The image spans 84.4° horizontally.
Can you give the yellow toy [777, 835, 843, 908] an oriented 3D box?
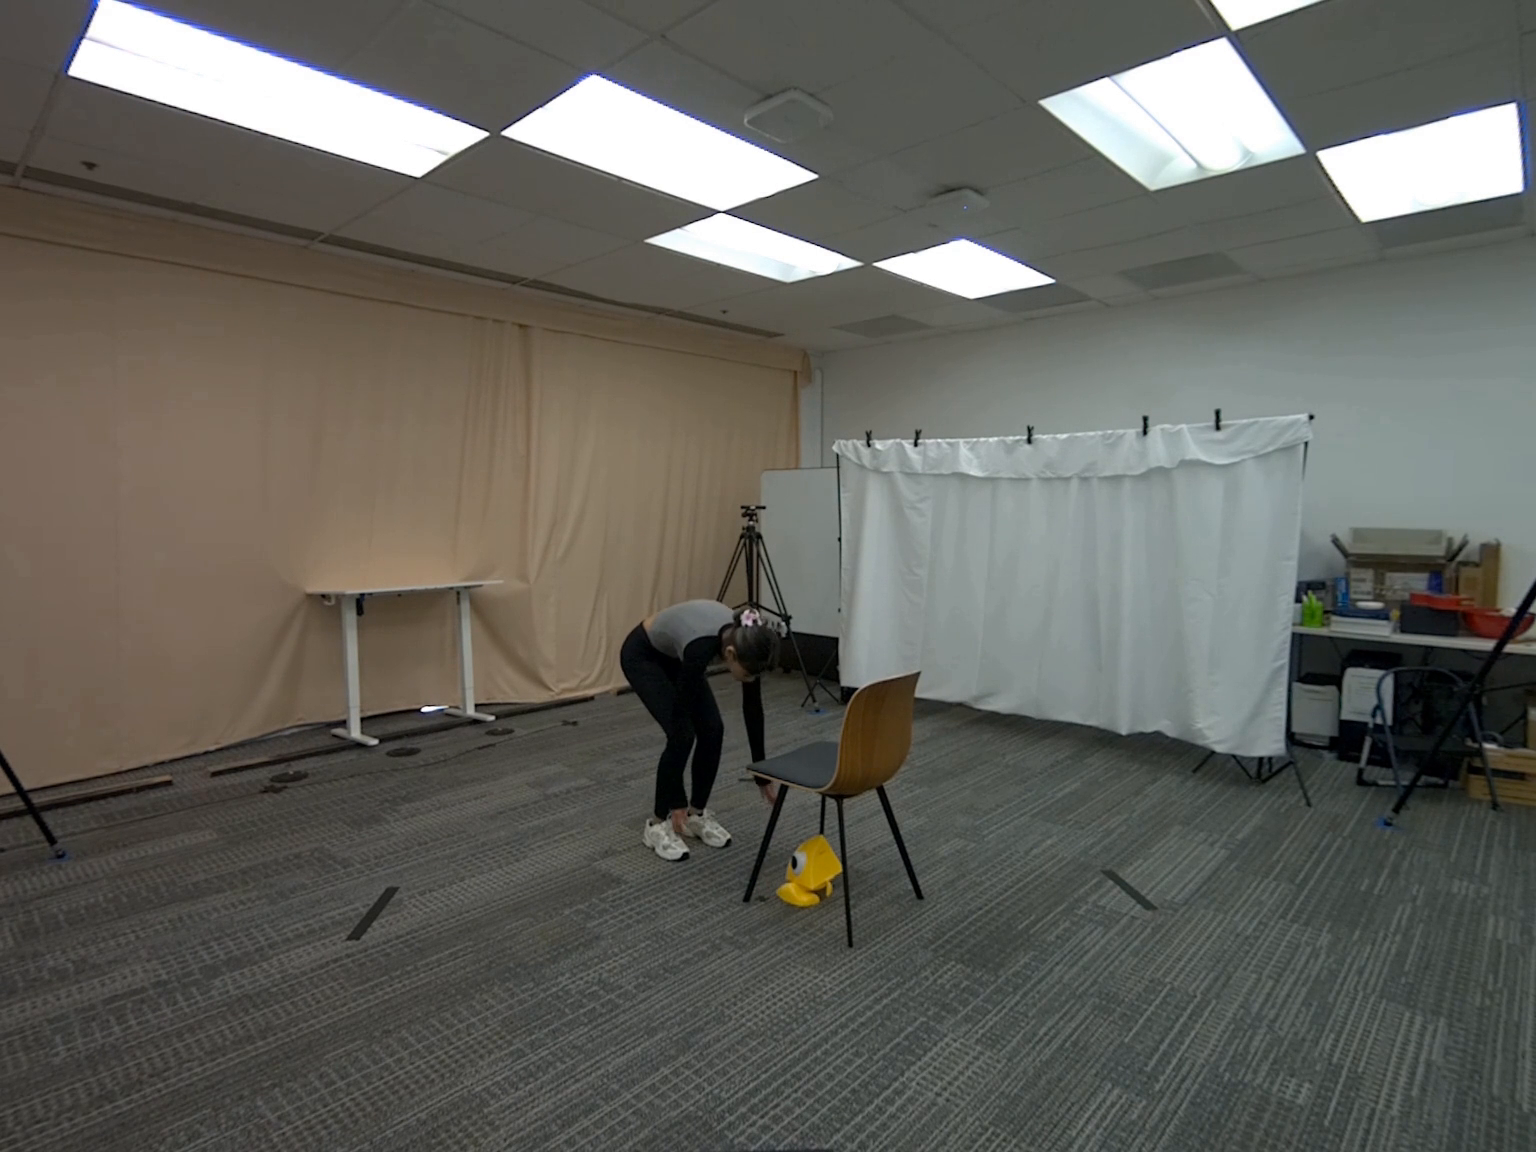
[{"bbox_3d":[0.143,1.030,3.014,0.199,0.230,0.199,4,6,40],"label":"yellow toy"}]
